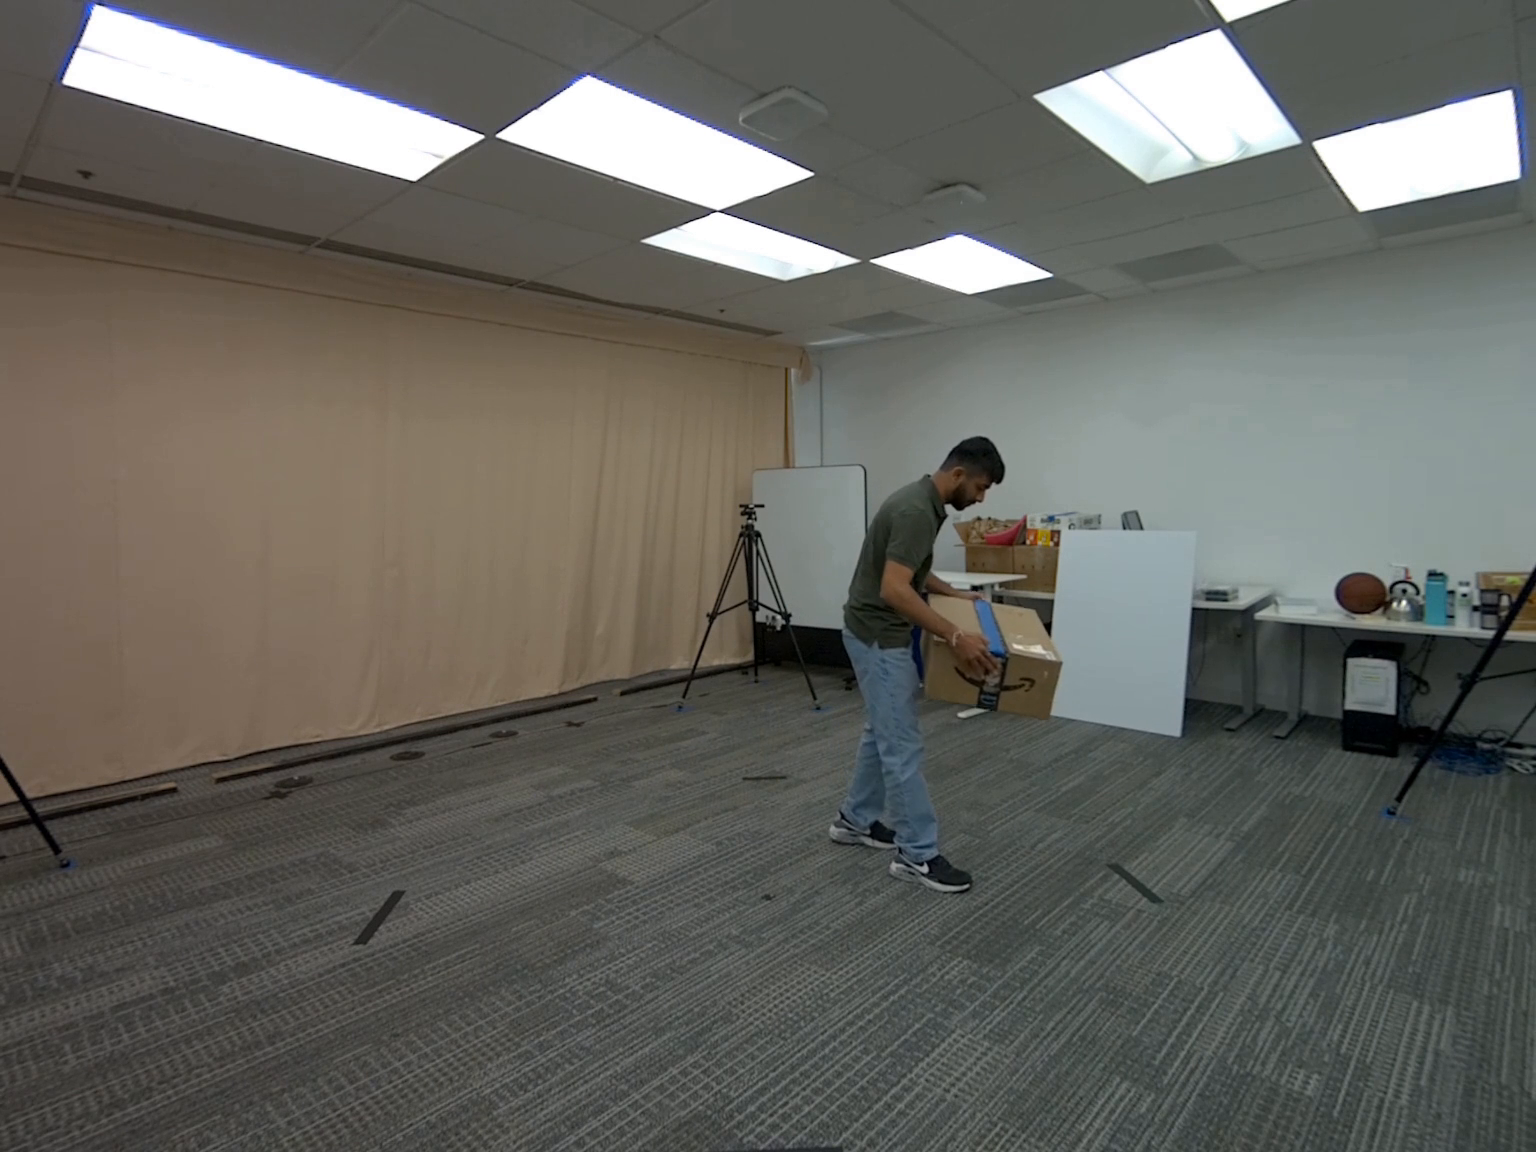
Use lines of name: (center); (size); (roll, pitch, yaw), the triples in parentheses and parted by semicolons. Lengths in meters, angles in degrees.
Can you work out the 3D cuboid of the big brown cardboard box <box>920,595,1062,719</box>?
big brown cardboard box: (0.800, 0.274, 3.103); (0.422, 0.231, 0.587); (8, 15, 7)
